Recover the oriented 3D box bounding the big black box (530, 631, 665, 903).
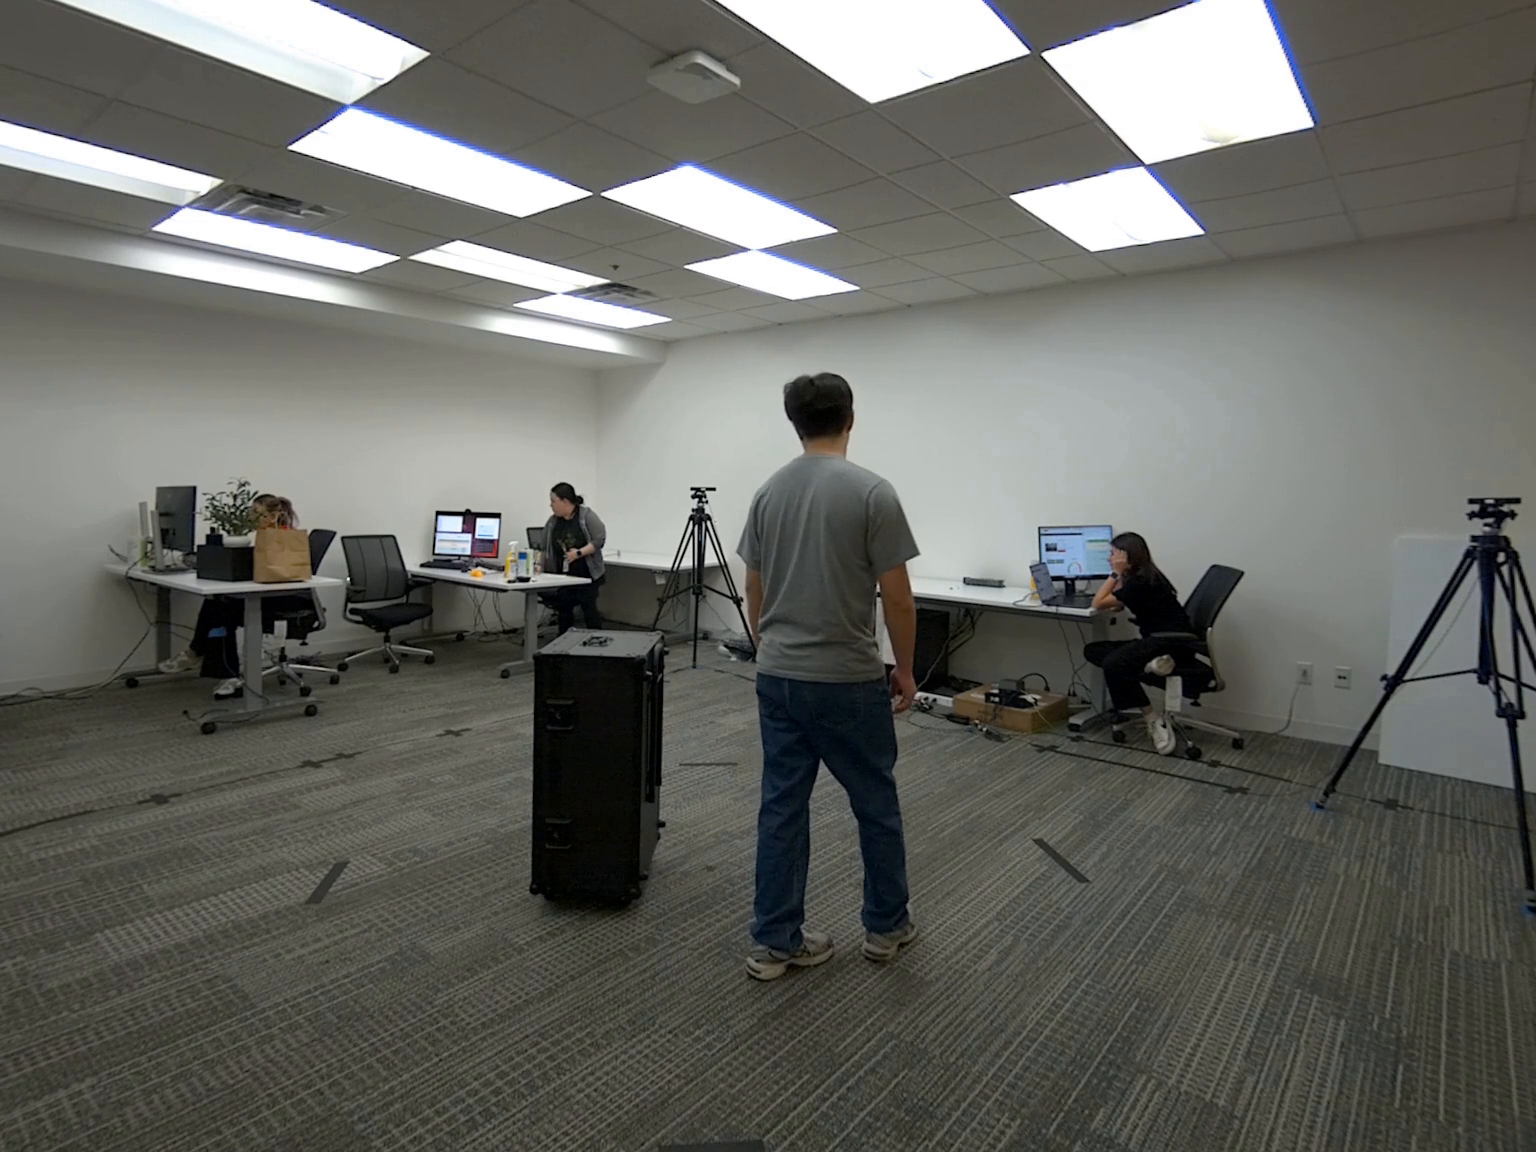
[{"bbox_3d":[-0.580,0.649,2.954,0.398,0.860,0.520,2,3,2],"label":"big black box"}]
